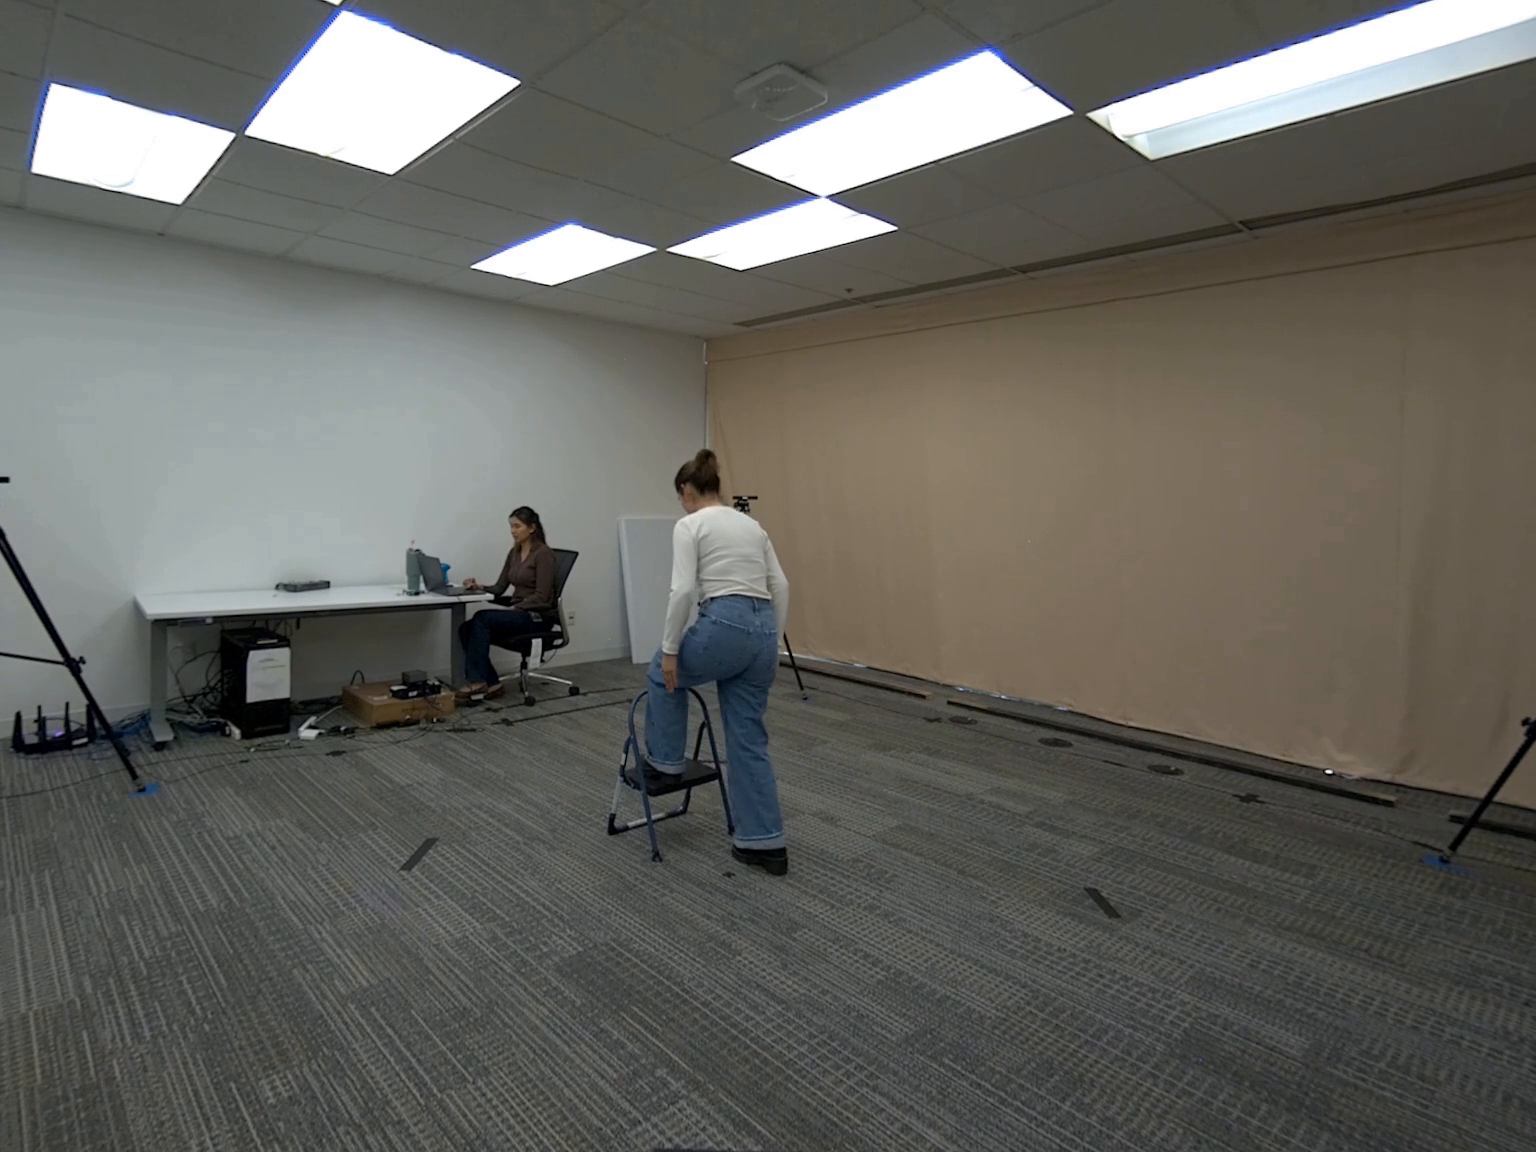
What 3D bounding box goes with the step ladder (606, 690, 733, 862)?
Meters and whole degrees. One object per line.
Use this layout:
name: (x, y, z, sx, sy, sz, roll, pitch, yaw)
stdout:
step ladder: (-0.392, 0.764, 3.452, 0.421, 0.604, 0.358, -2, 5, -44)
